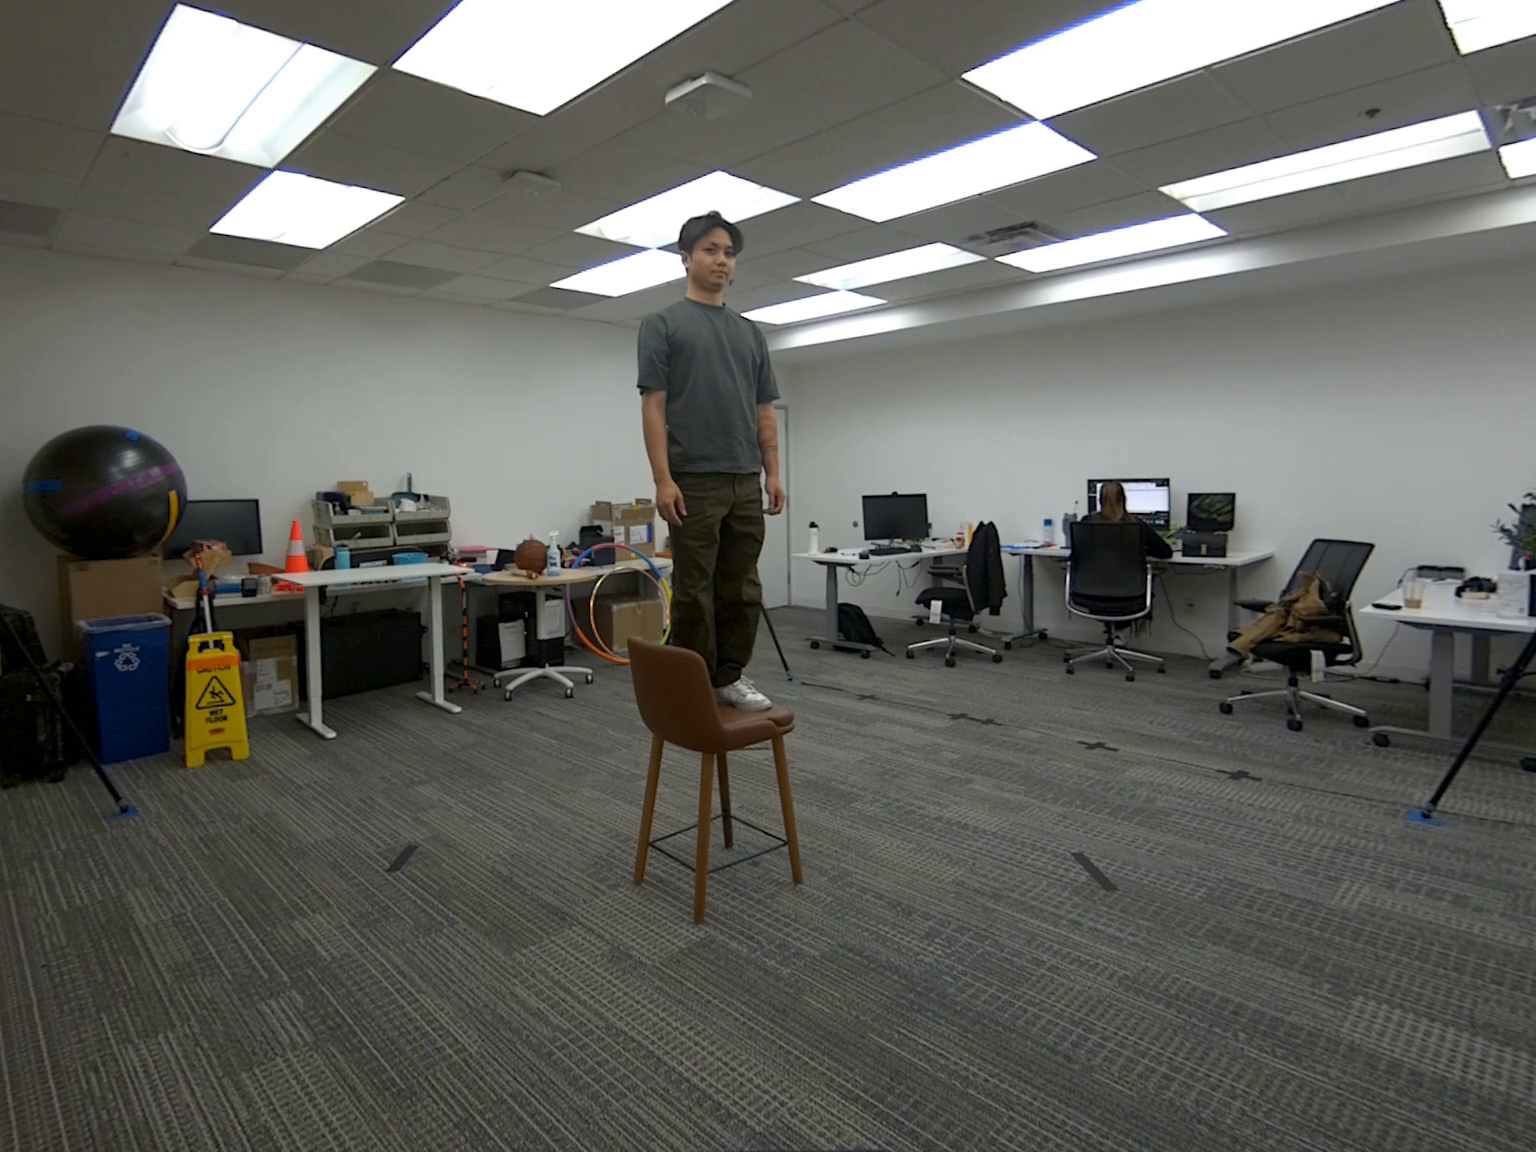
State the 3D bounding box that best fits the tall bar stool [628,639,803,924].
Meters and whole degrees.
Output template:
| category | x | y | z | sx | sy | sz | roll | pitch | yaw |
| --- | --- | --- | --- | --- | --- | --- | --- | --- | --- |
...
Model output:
| category | x | y | z | sx | sy | sz | roll | pitch | yaw |
| --- | --- | --- | --- | --- | --- | --- | --- | --- | --- |
| tall bar stool | -0.187 | 0.629 | 2.936 | 0.456 | 0.885 | 0.470 | -6 | 7 | -40 |
